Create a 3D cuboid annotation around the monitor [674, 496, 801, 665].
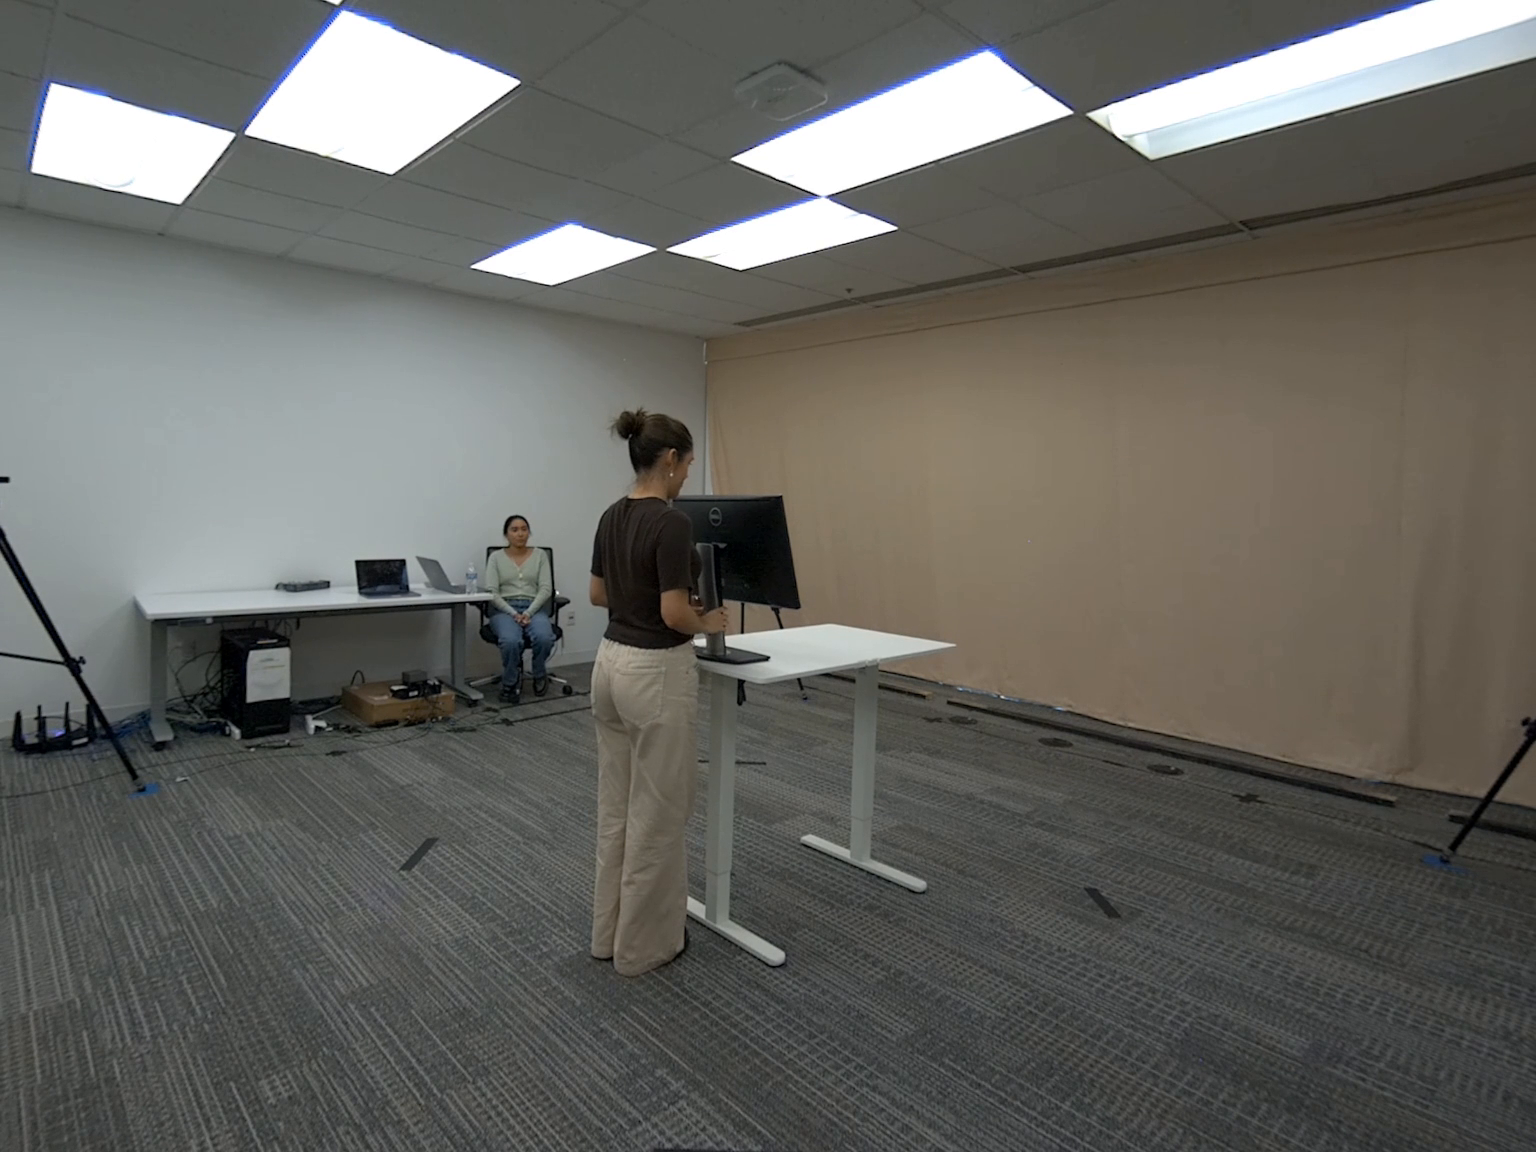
[{"bbox_3d":[-0.141,0.003,2.663,0.543,0.516,0.170,3,1,45],"label":"monitor"}]
